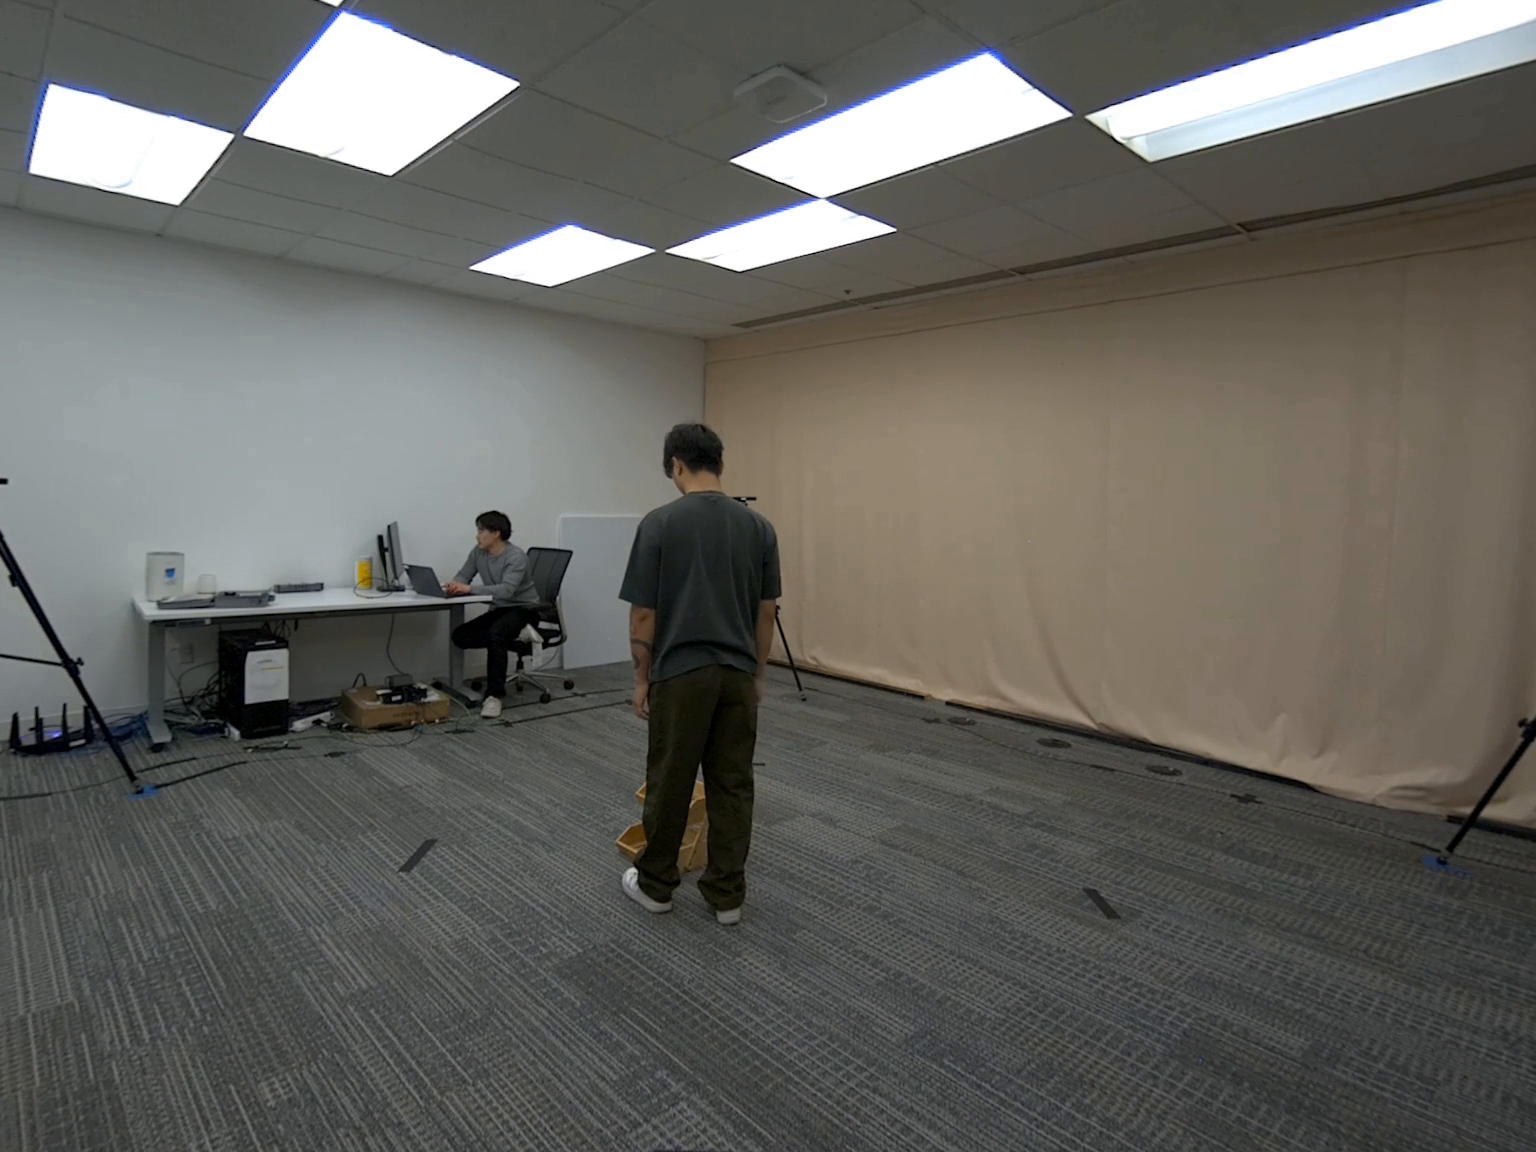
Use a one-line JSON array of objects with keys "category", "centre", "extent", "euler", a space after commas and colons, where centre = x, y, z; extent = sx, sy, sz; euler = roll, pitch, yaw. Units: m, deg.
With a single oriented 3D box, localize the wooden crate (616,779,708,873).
[{"category": "wooden crate", "centre": [-0.389, 0.956, 3.260], "extent": [0.295, 0.272, 0.333], "euler": [-2, 6, -42]}]
